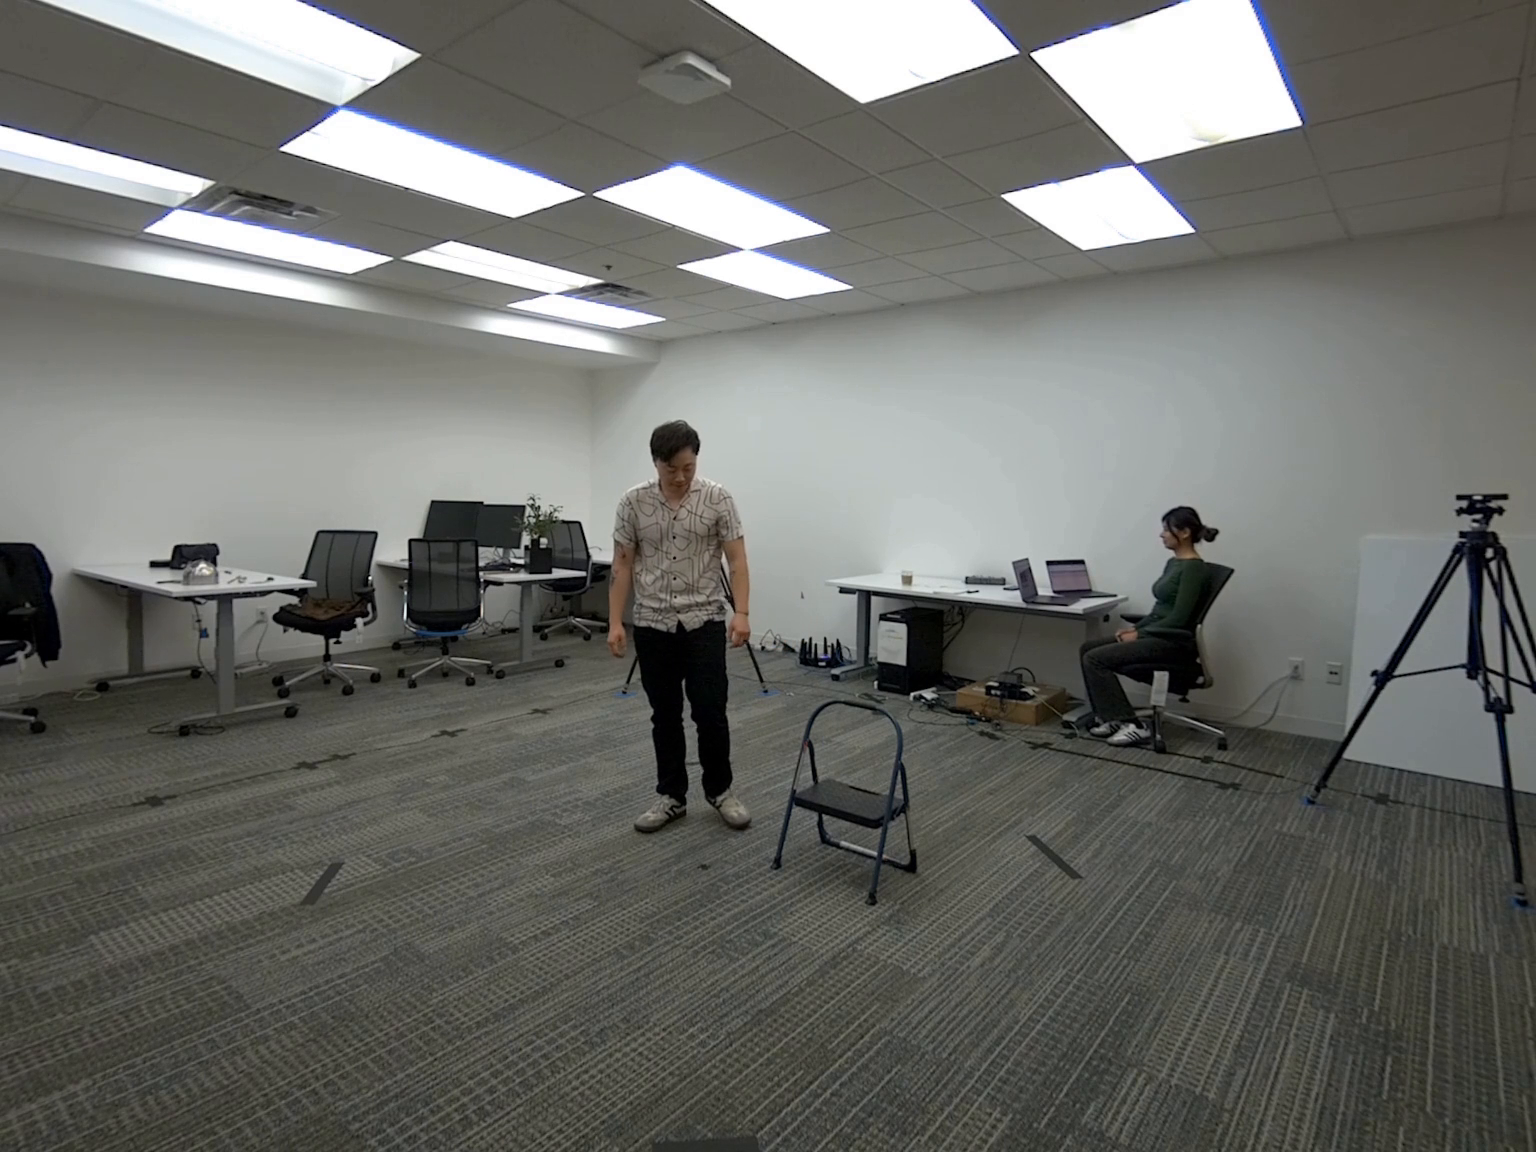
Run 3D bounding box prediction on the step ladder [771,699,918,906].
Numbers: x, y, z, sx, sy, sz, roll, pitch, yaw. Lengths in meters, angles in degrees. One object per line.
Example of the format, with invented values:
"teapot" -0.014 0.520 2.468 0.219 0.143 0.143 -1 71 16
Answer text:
"step ladder" 0.281 0.769 3.101 0.445 0.604 0.339 4 4 38
